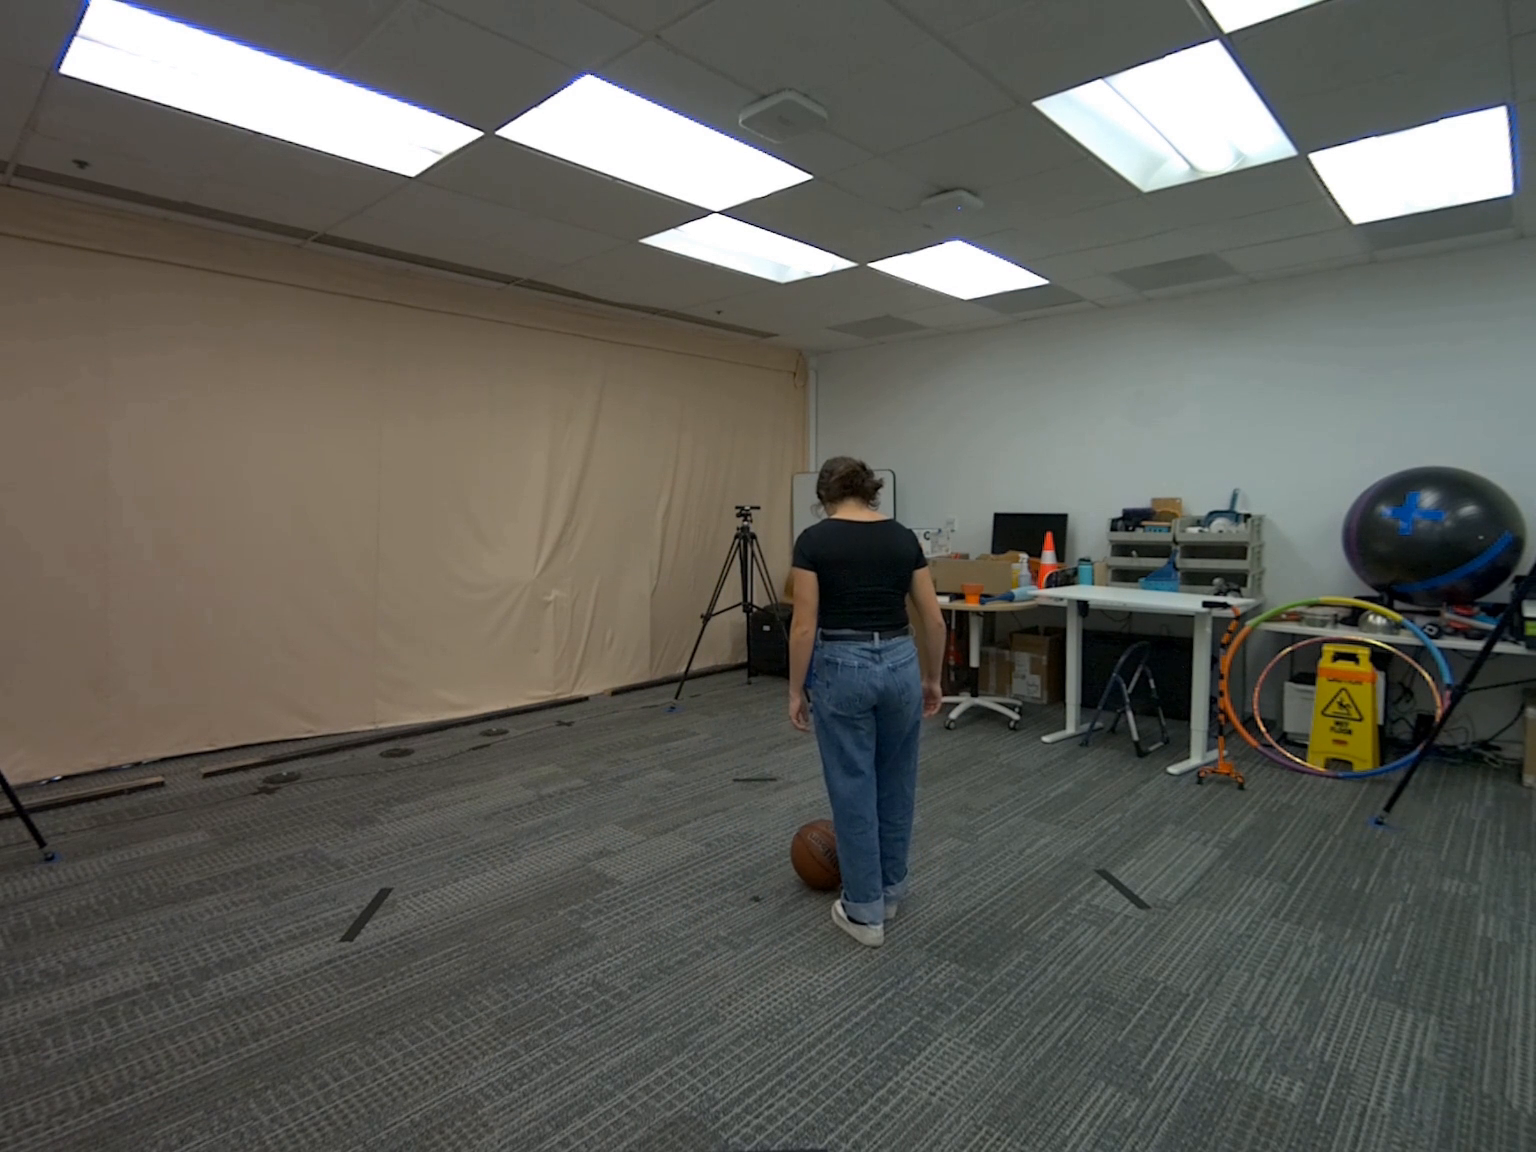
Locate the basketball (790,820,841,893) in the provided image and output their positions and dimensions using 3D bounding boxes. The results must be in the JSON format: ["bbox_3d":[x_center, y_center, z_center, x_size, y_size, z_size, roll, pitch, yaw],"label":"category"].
[{"bbox_3d":[0.209,1.015,3.081,0.236,0.235,0.237,0,4,-2],"label":"basketball"}]
